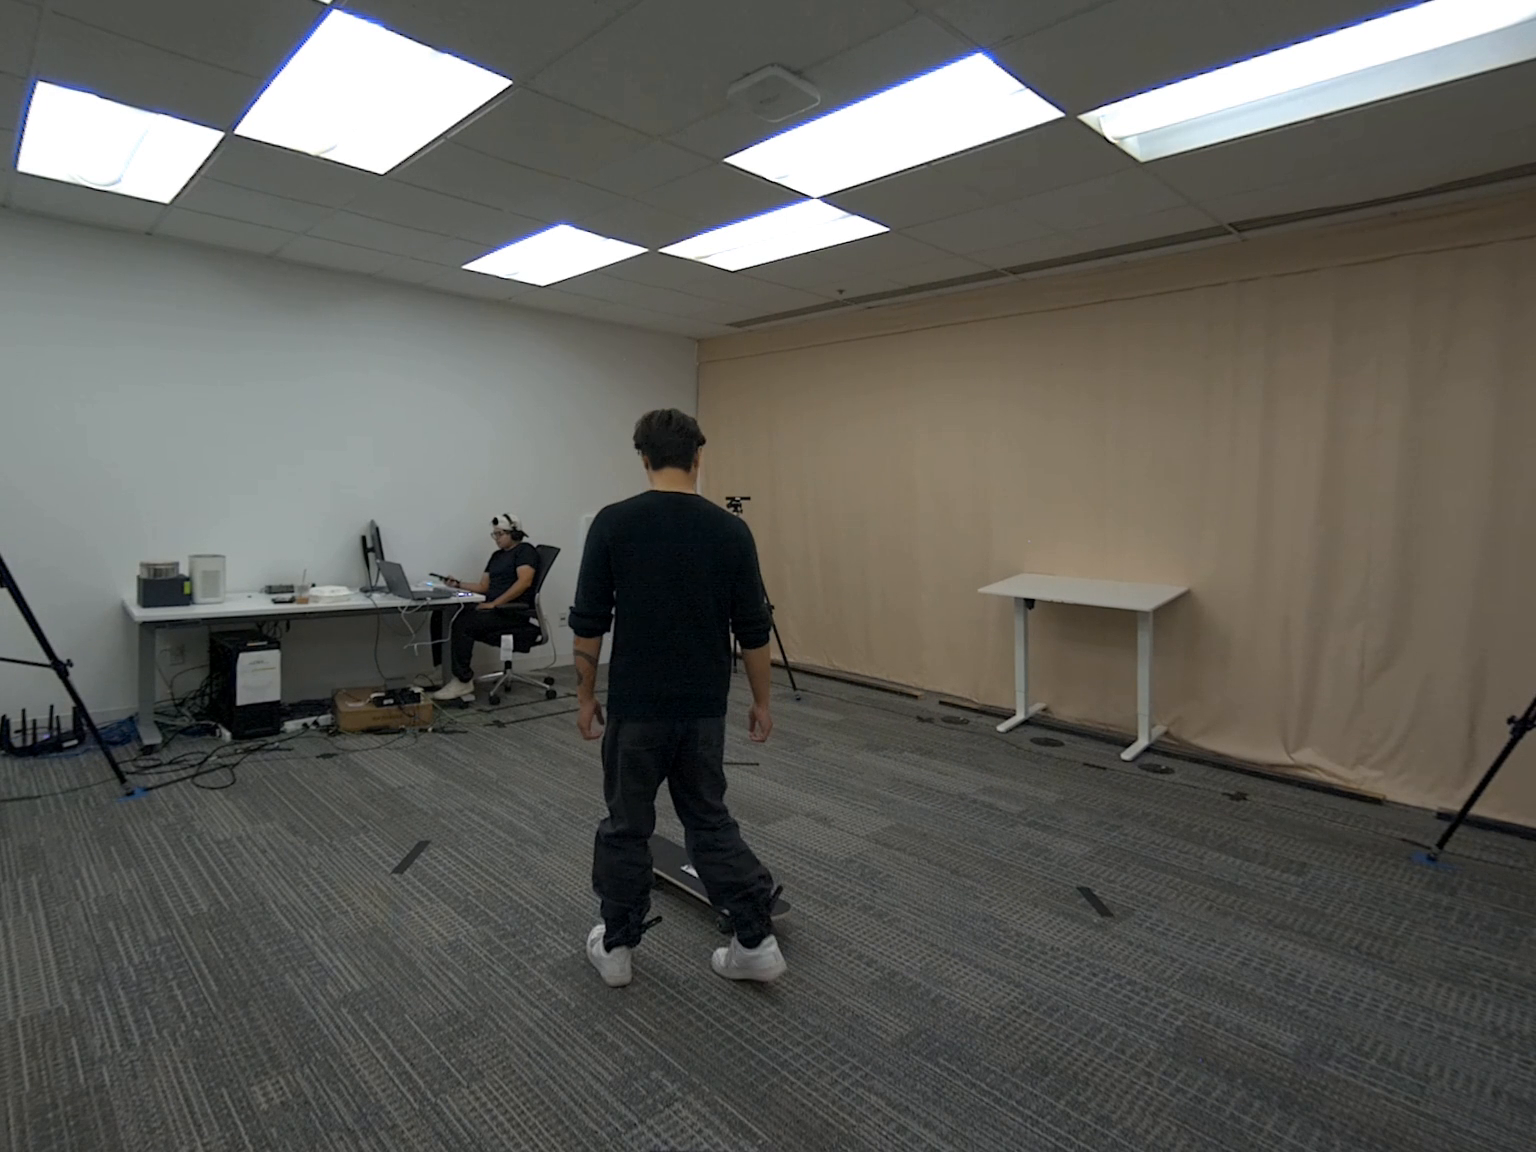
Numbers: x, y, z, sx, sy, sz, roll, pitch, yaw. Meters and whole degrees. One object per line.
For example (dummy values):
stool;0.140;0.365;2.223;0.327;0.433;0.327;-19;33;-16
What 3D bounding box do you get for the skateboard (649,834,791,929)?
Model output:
skateboard;-0.238;1.072;2.903;0.189;0.110;0.806;-2;6;-42
